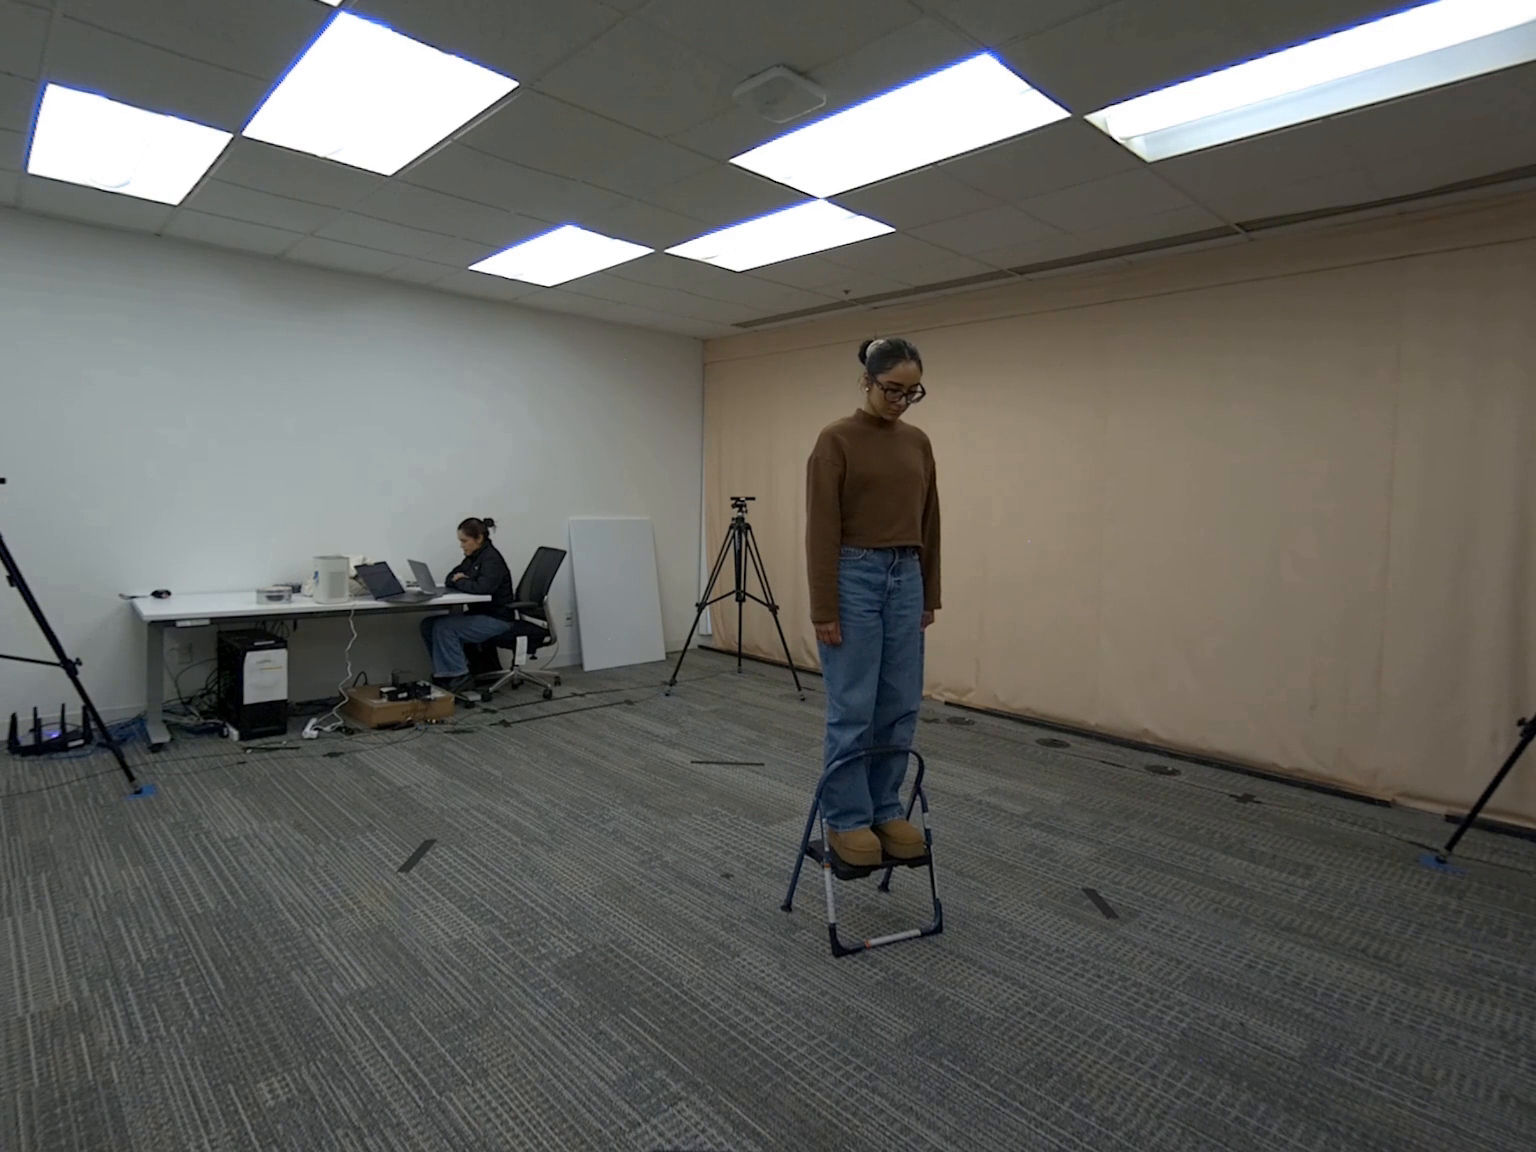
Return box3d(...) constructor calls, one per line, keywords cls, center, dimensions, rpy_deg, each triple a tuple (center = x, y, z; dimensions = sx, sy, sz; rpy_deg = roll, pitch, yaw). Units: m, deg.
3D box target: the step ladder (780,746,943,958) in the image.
box3d(cls="step ladder", center=(0.316, 0.845, 2.777), dimensions=(0.422, 0.604, 0.357), rpy_deg=(1, 4, -27))
